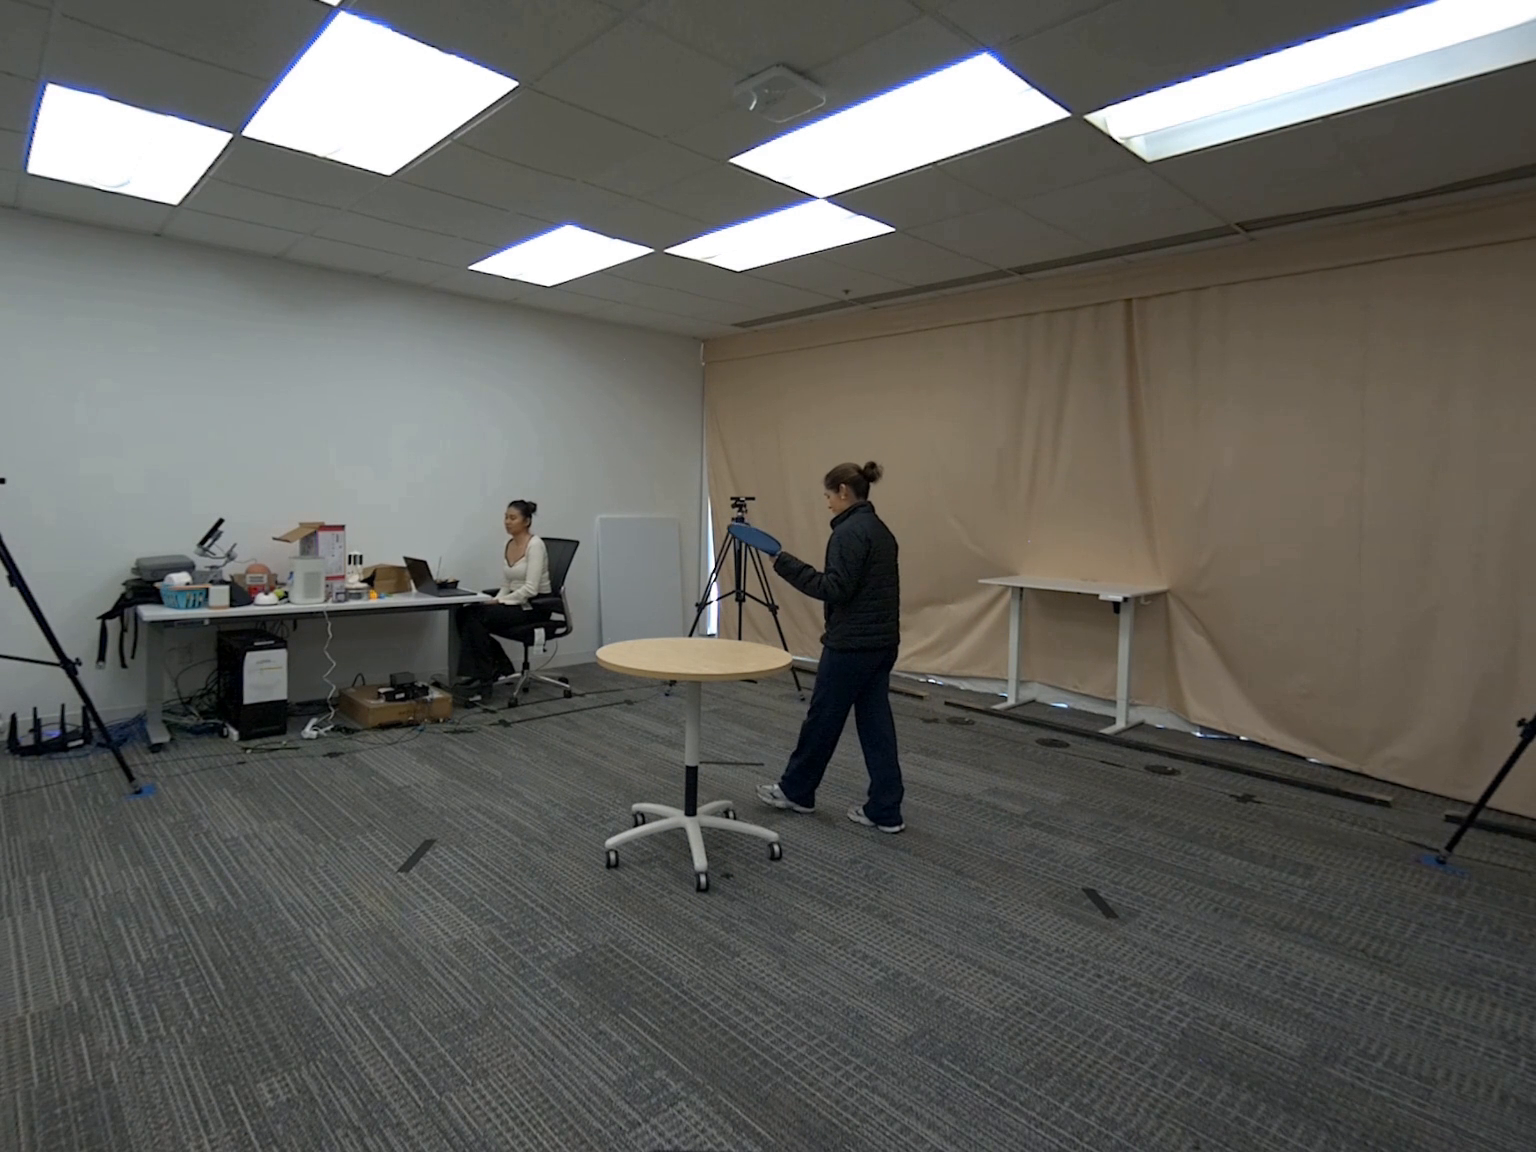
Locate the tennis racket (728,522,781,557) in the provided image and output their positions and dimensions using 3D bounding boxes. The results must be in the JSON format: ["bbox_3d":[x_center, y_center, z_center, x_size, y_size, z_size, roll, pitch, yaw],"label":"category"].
[{"bbox_3d":[-0.012,-0.114,3.390,0.219,0.032,0.419,6,-19,43],"label":"tennis racket"}]
